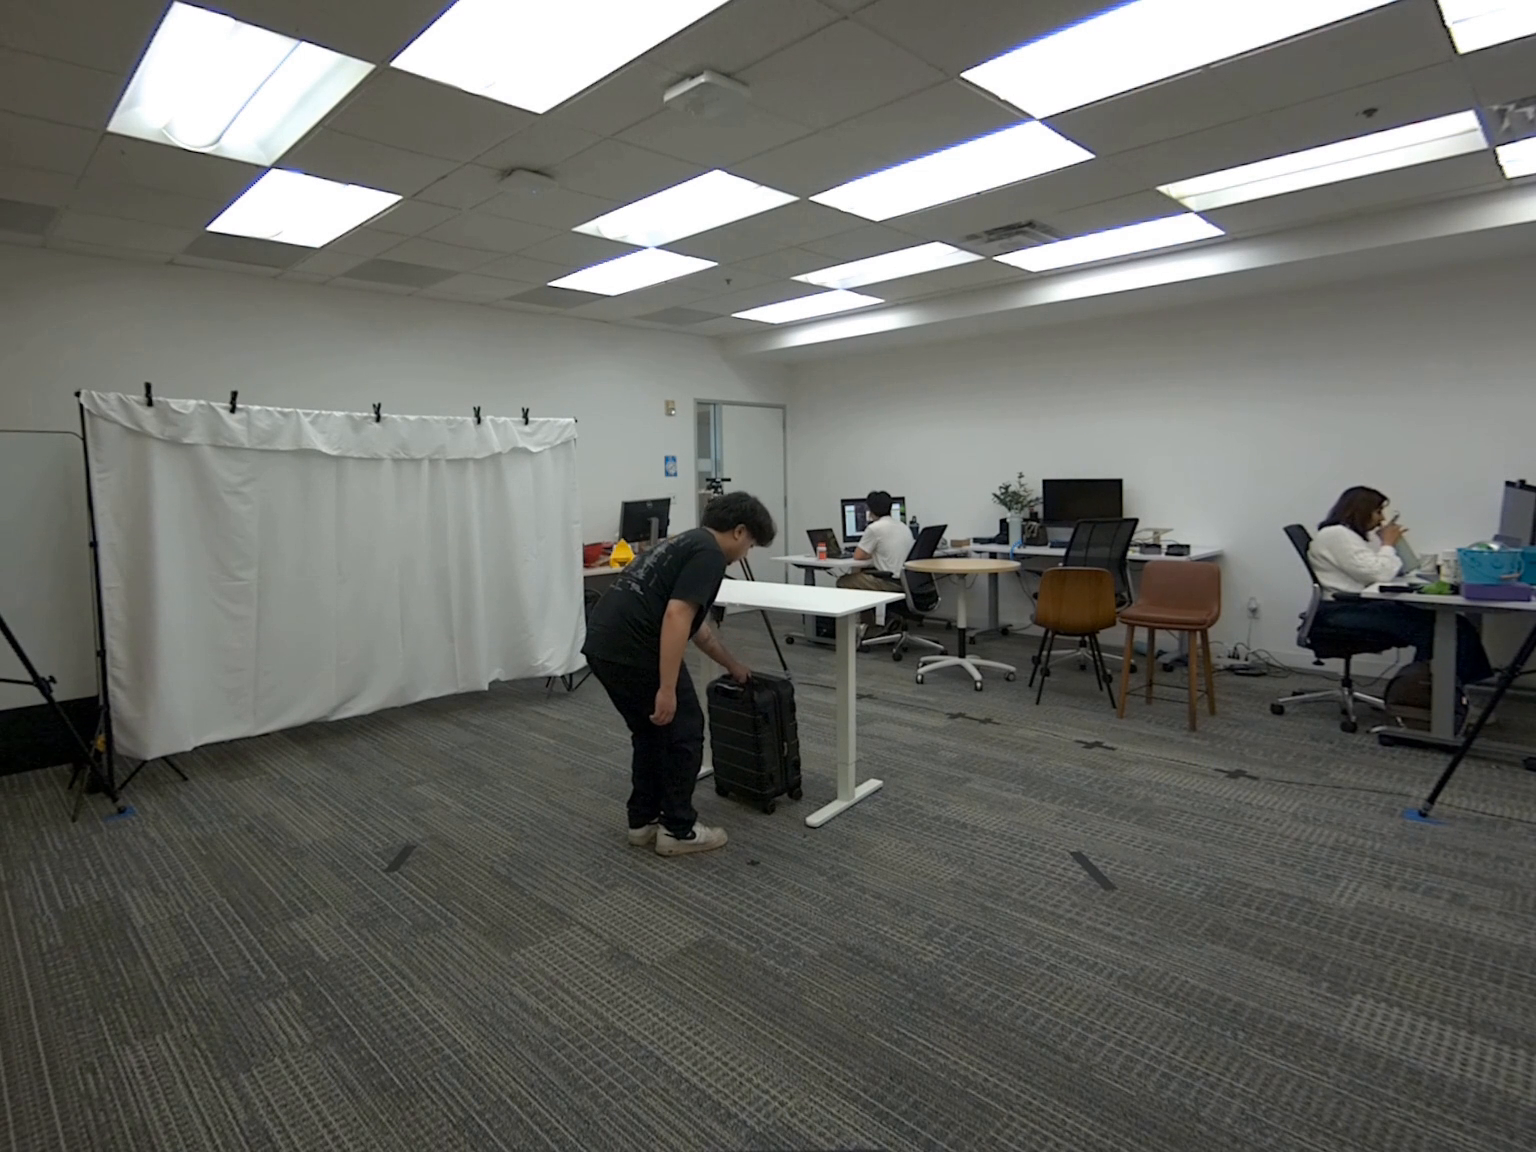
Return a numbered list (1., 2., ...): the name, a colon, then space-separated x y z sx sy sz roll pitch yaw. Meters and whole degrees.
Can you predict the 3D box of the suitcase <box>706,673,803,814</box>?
1. suitcase: -0.063 0.692 3.701 0.243 0.545 0.387 -12 10 -42
